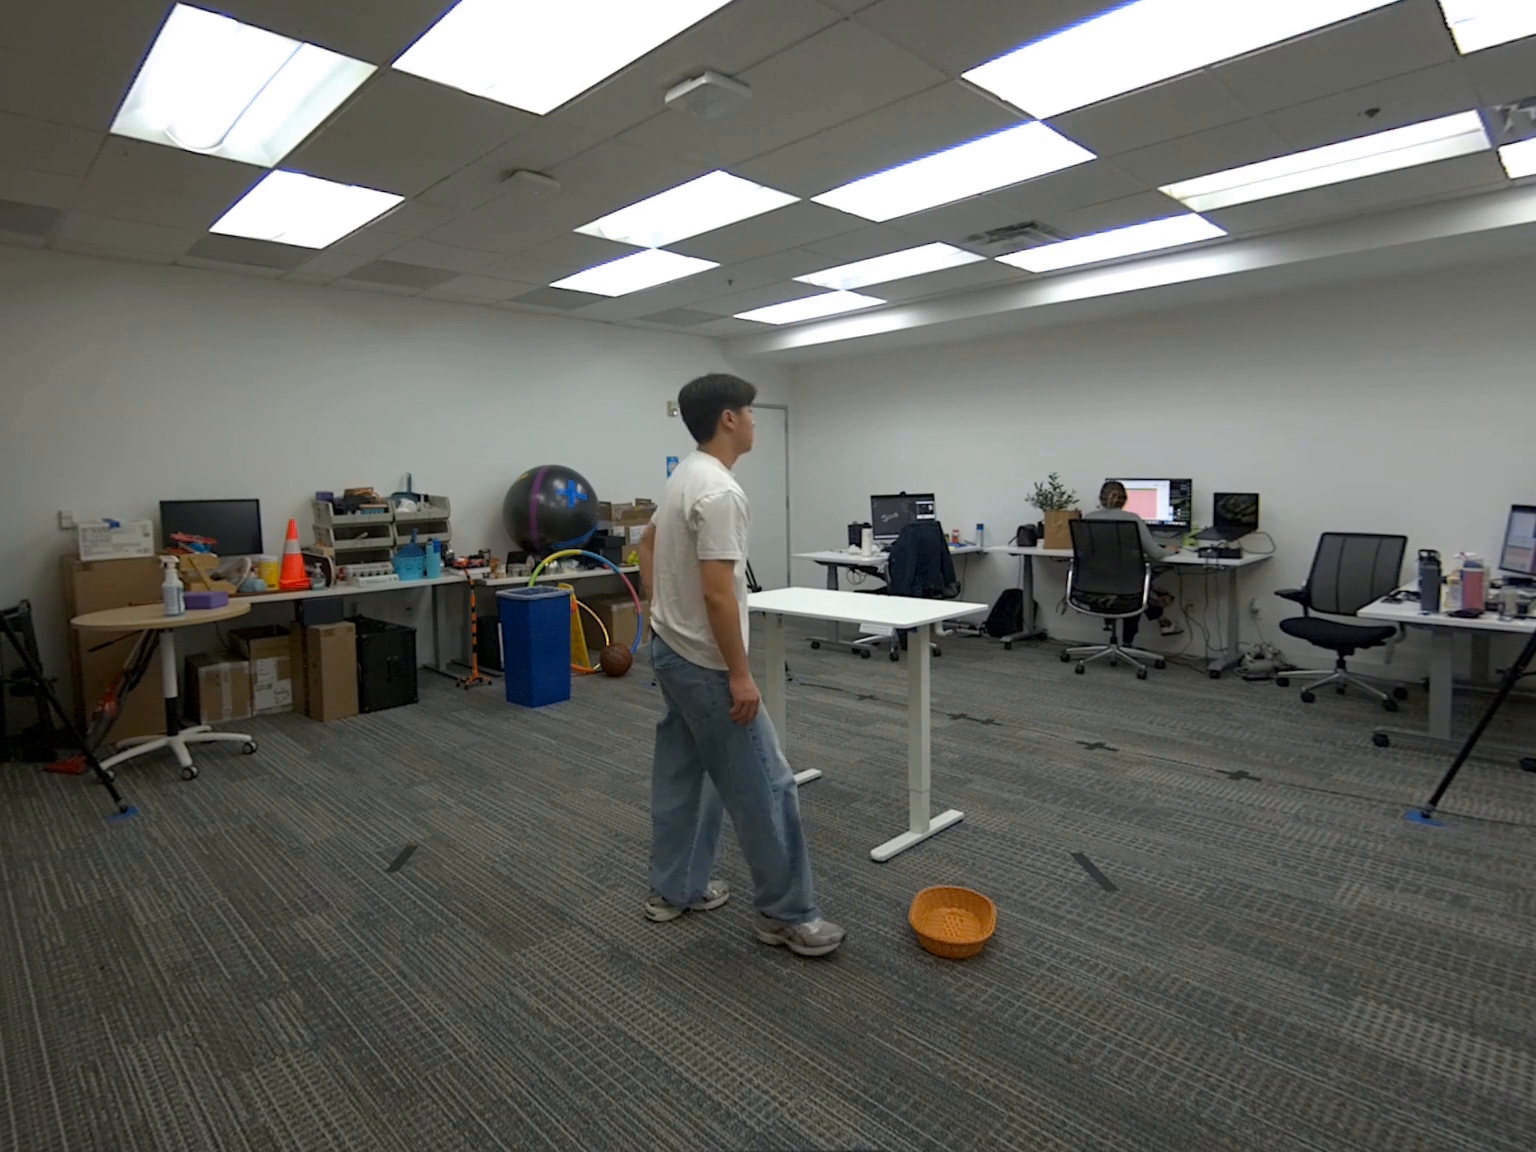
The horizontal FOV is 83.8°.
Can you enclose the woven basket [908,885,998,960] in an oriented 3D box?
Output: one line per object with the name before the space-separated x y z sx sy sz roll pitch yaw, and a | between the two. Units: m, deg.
woven basket | 0.556 1.041 2.609 0.258 0.073 0.345 2 7 21
